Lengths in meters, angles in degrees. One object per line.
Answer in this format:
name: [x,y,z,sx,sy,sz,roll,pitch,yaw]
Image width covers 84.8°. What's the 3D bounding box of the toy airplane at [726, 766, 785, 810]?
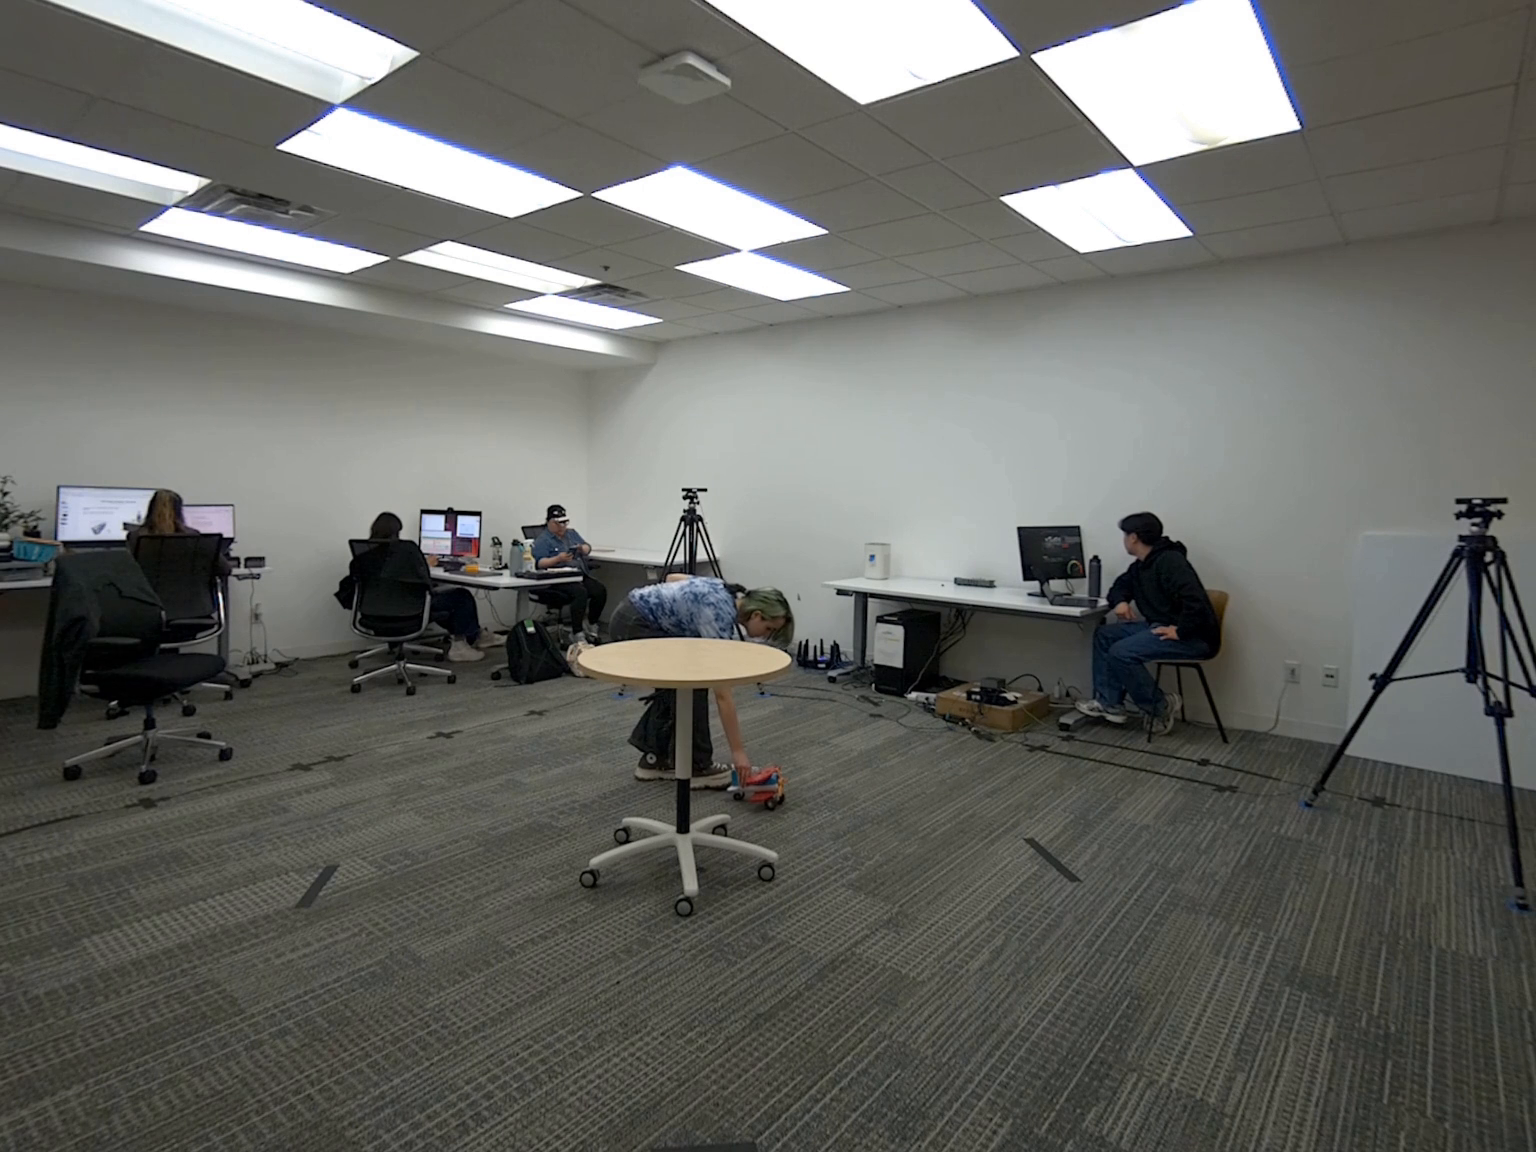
toy airplane: [-0.058,0.936,3.767,0.258,0.156,0.252,2,3,-4]
